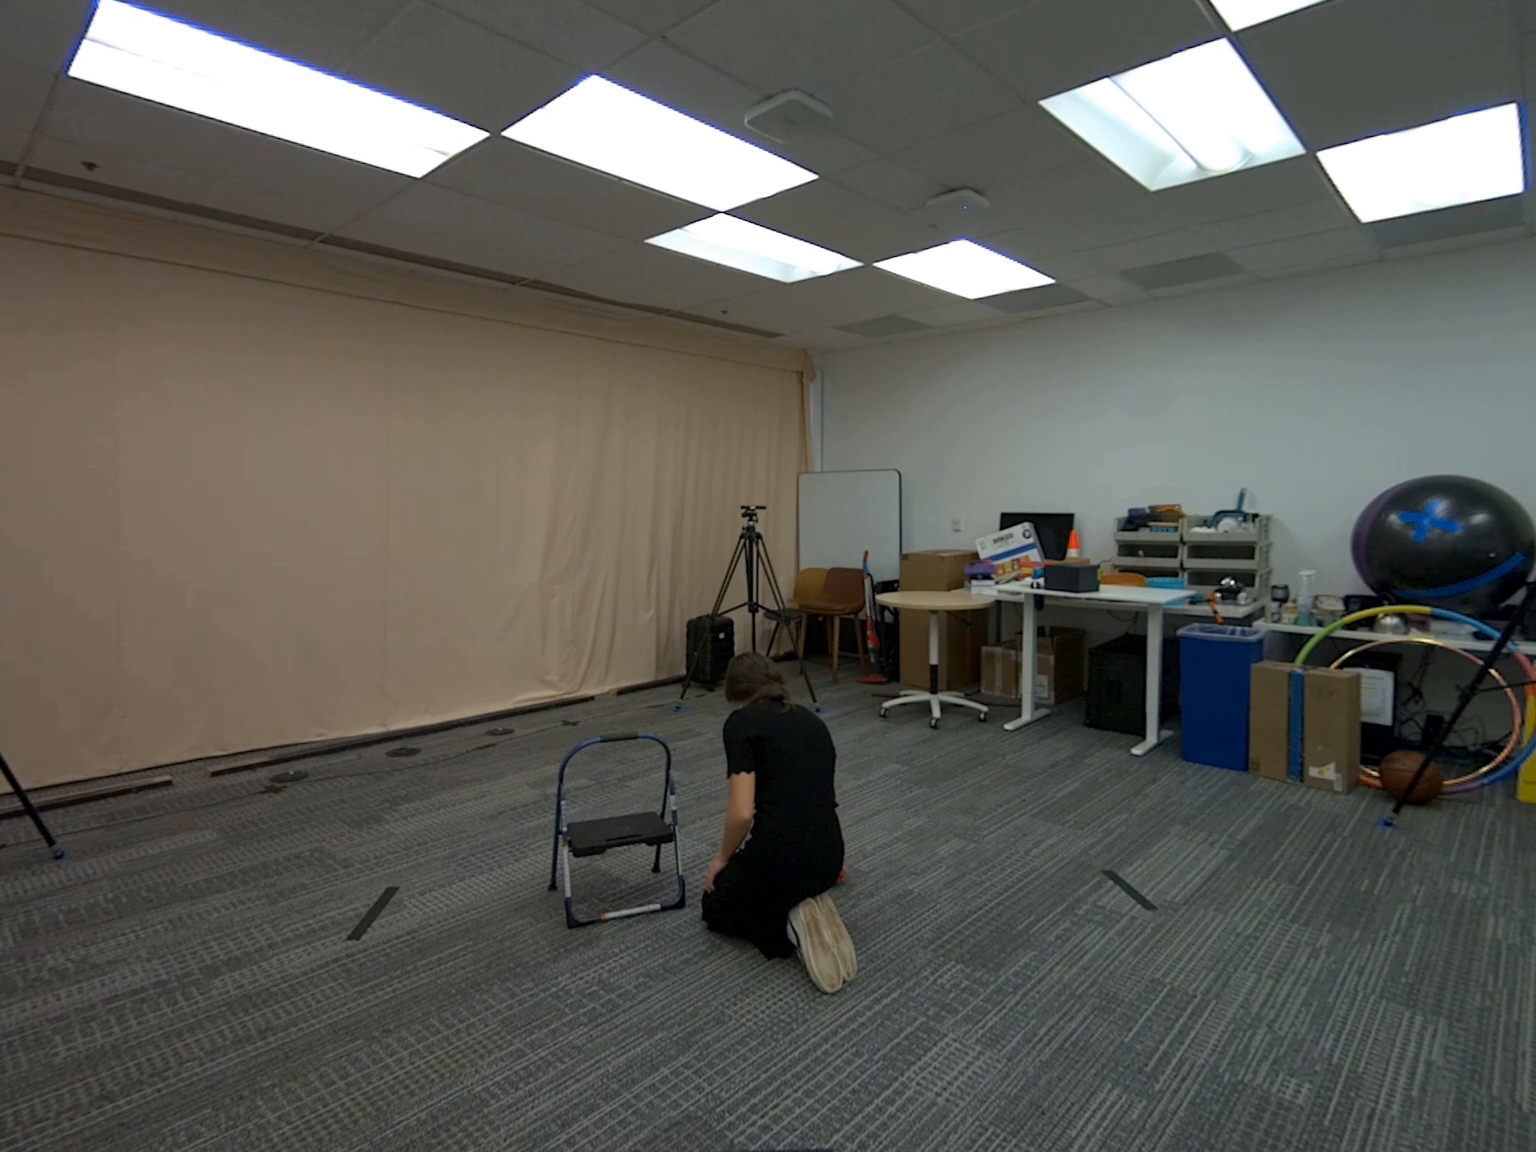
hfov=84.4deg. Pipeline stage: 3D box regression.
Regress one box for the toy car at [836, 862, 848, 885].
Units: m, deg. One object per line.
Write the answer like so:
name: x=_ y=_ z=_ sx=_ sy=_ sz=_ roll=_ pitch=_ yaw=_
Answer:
toy car: x=0.189 y=1.107 z=3.113 sx=0.256 sy=0.083 sz=0.130 roll=-7 pitch=3 yaw=4
